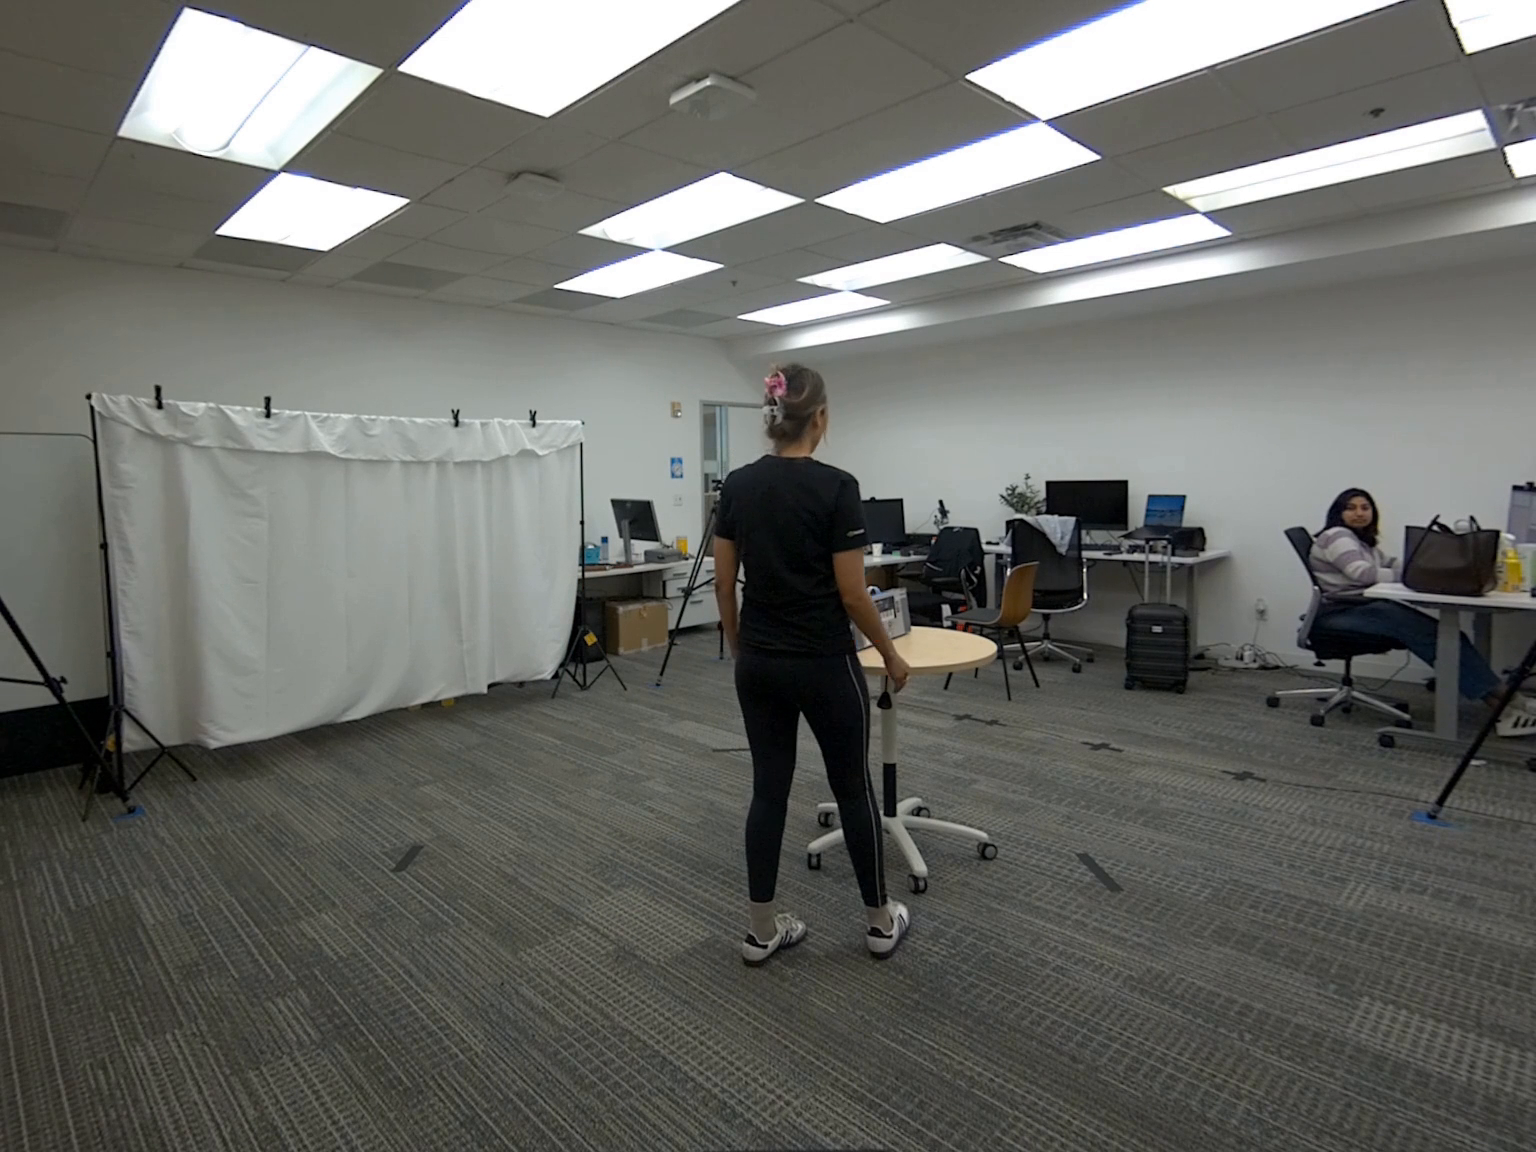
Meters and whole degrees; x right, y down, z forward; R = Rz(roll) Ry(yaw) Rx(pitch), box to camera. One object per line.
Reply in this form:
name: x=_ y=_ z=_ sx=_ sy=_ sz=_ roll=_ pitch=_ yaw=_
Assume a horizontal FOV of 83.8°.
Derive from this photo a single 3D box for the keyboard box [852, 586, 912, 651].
keyboard box: x=0.404 y=0.160 z=3.186 sx=0.060 sy=0.176 sz=0.426 roll=-8 pitch=1 yaw=37
